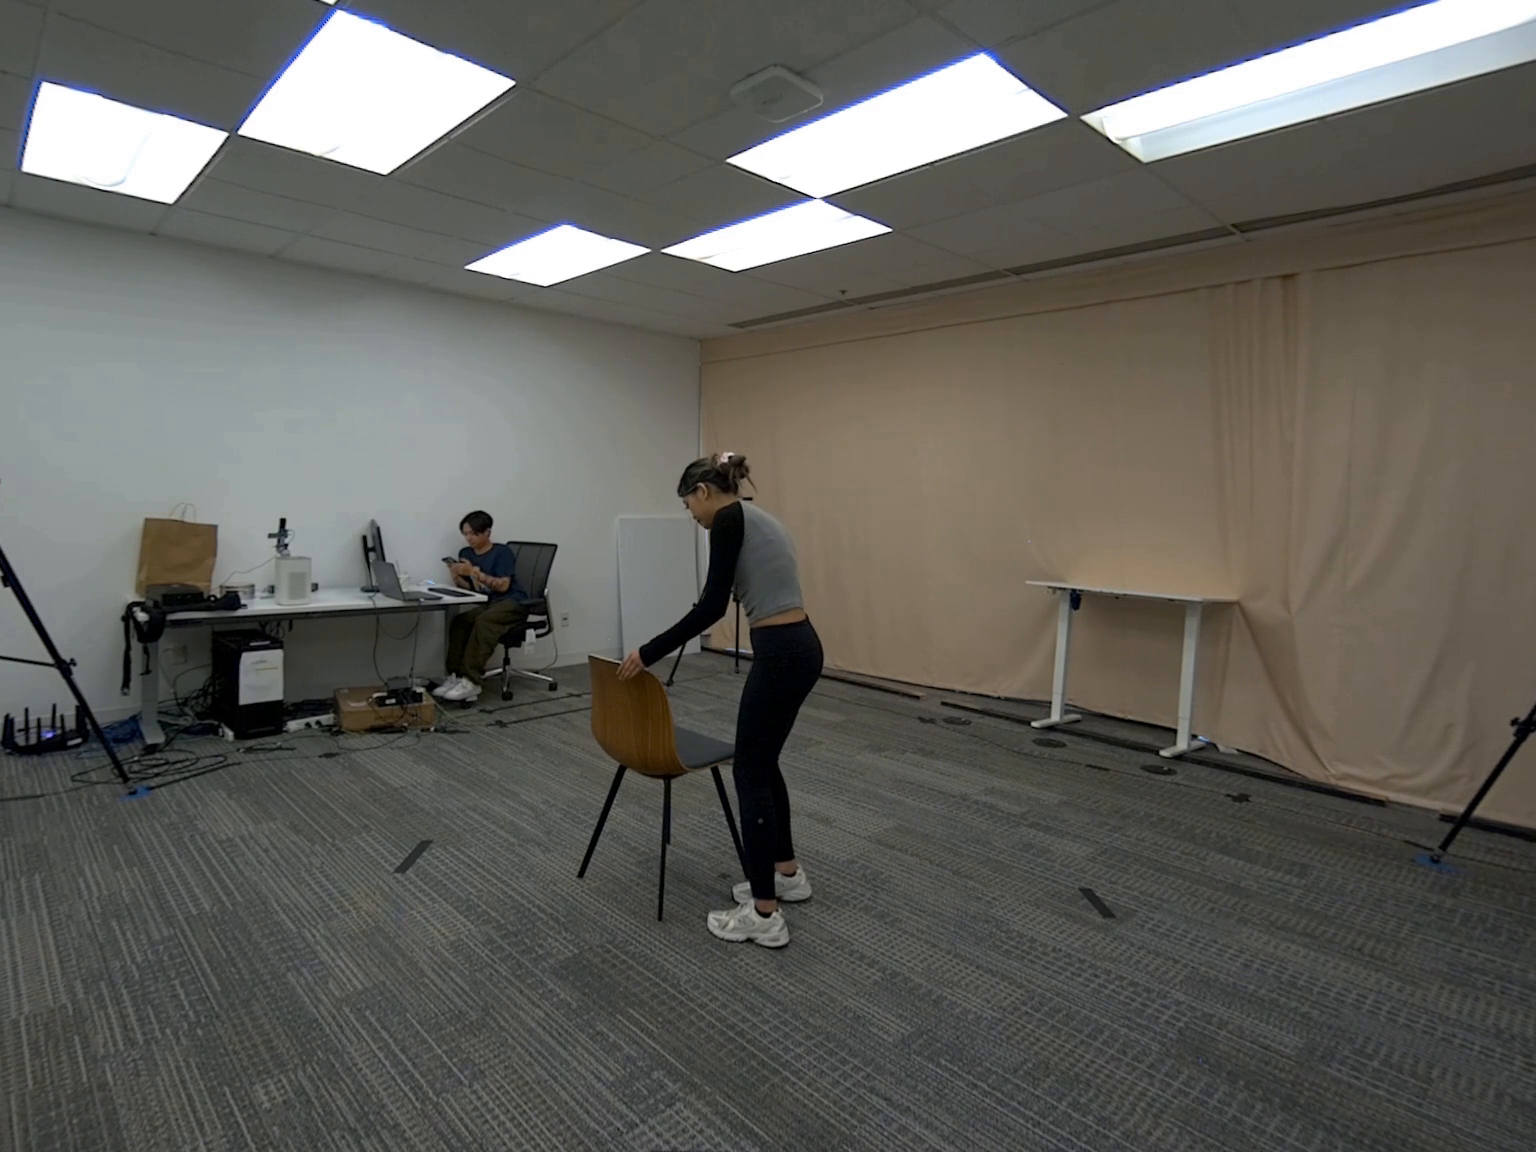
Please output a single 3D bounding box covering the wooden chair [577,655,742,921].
[{"bbox_3d":[-0.370,0.679,3.054,0.490,0.873,0.513,4,8,41],"label":"wooden chair"}]
